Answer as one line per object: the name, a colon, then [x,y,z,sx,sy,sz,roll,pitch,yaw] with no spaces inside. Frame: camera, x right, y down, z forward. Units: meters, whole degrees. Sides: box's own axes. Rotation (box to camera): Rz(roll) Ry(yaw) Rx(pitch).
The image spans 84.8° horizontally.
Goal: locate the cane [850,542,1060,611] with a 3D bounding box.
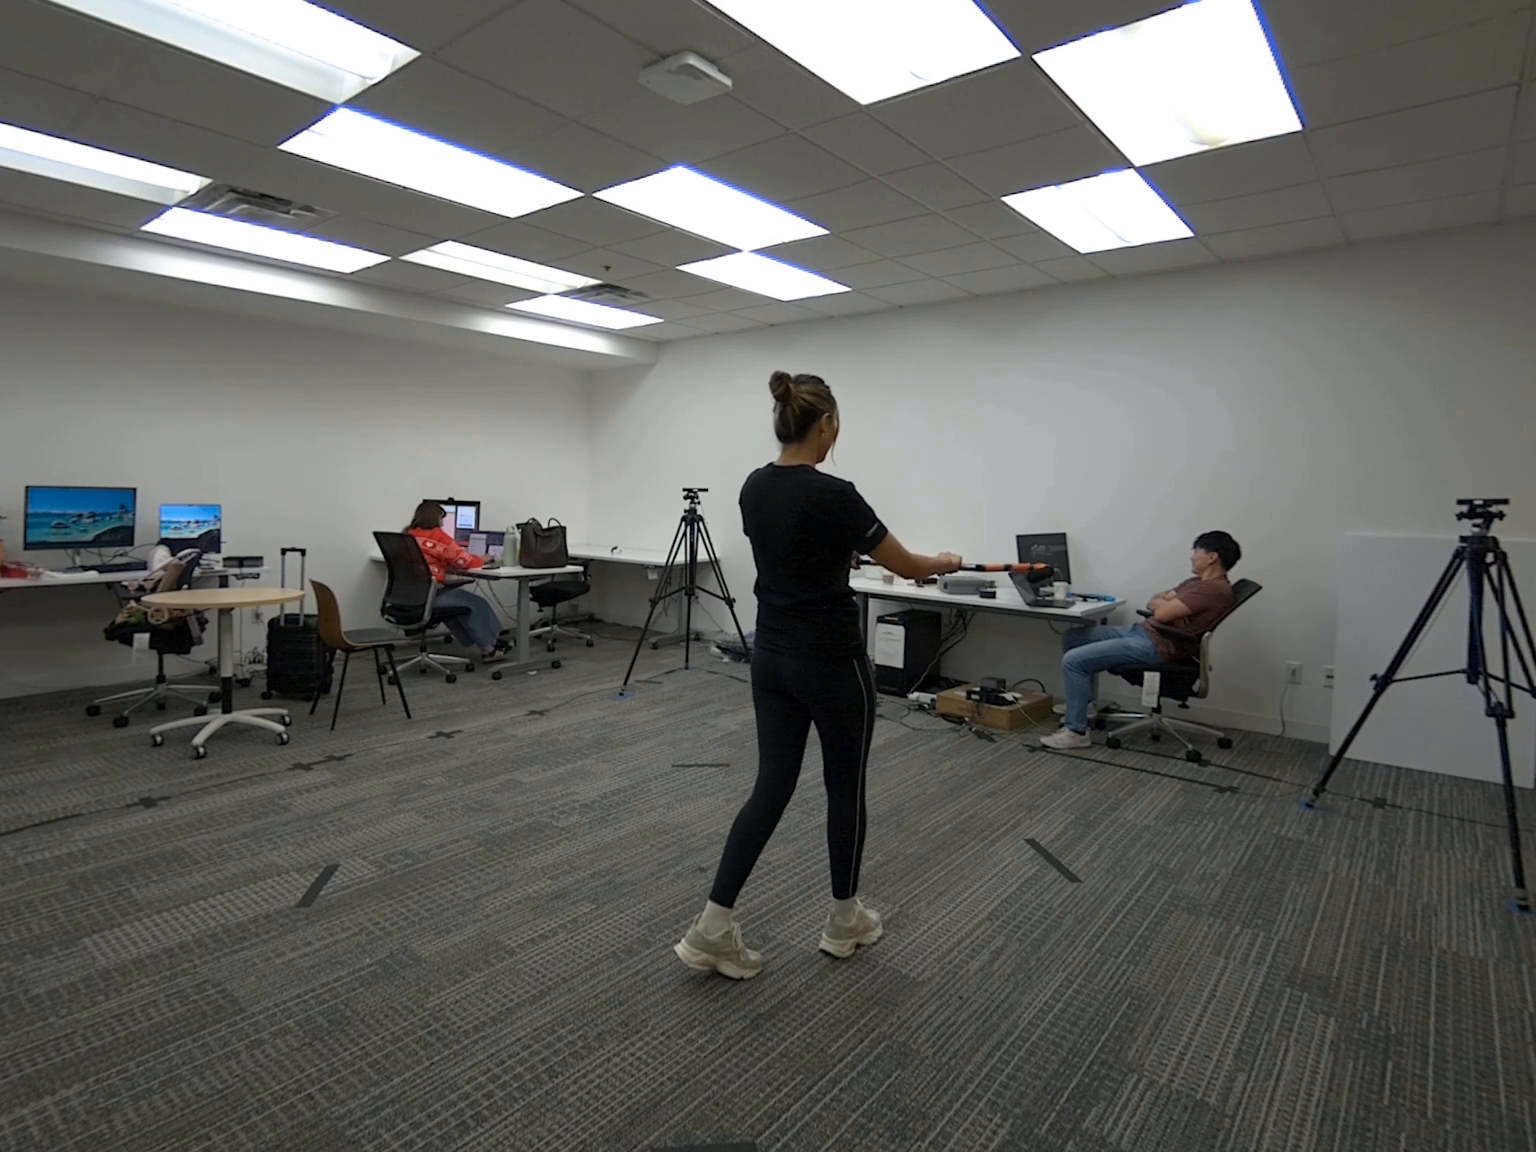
cane: [0.460,-0.022,2.758,0.939,0.150,0.201,5,11,45]
